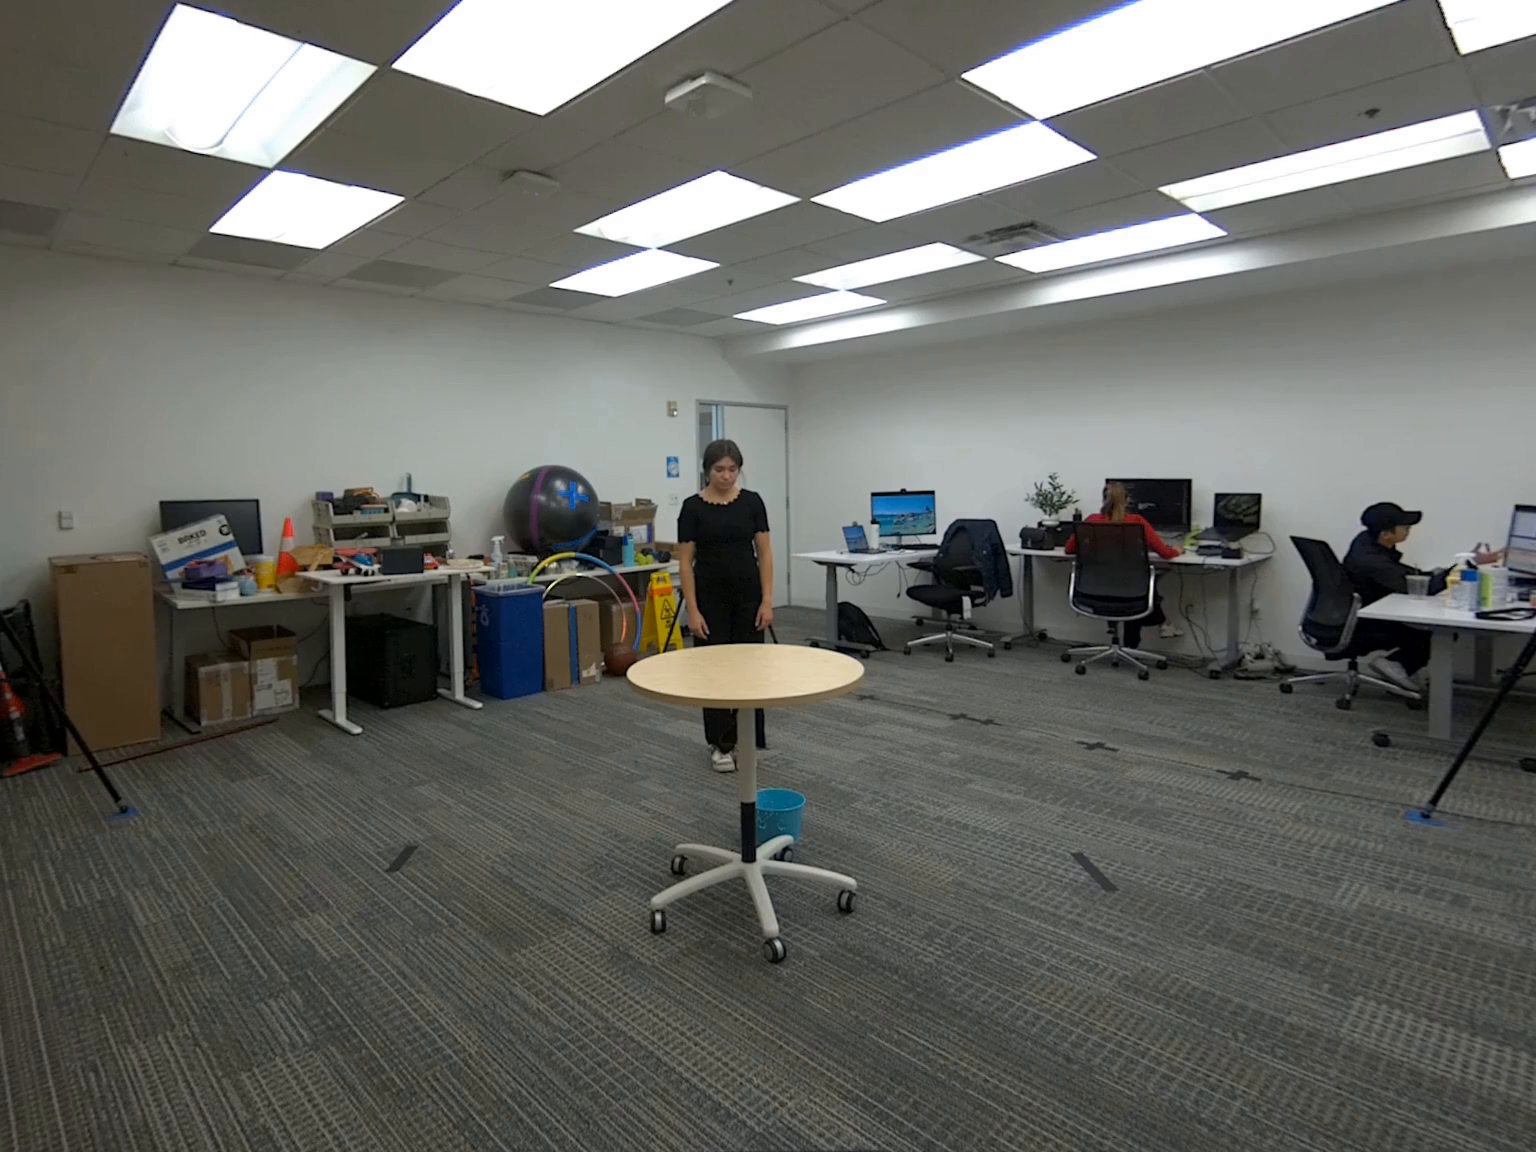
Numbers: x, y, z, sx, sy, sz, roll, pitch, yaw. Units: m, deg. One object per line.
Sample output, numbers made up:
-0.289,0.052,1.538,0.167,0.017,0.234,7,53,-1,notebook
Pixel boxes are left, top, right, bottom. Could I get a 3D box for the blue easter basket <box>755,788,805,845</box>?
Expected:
0.026,0.940,3.327,0.243,0.155,0.245,-1,5,-2,blue easter basket
